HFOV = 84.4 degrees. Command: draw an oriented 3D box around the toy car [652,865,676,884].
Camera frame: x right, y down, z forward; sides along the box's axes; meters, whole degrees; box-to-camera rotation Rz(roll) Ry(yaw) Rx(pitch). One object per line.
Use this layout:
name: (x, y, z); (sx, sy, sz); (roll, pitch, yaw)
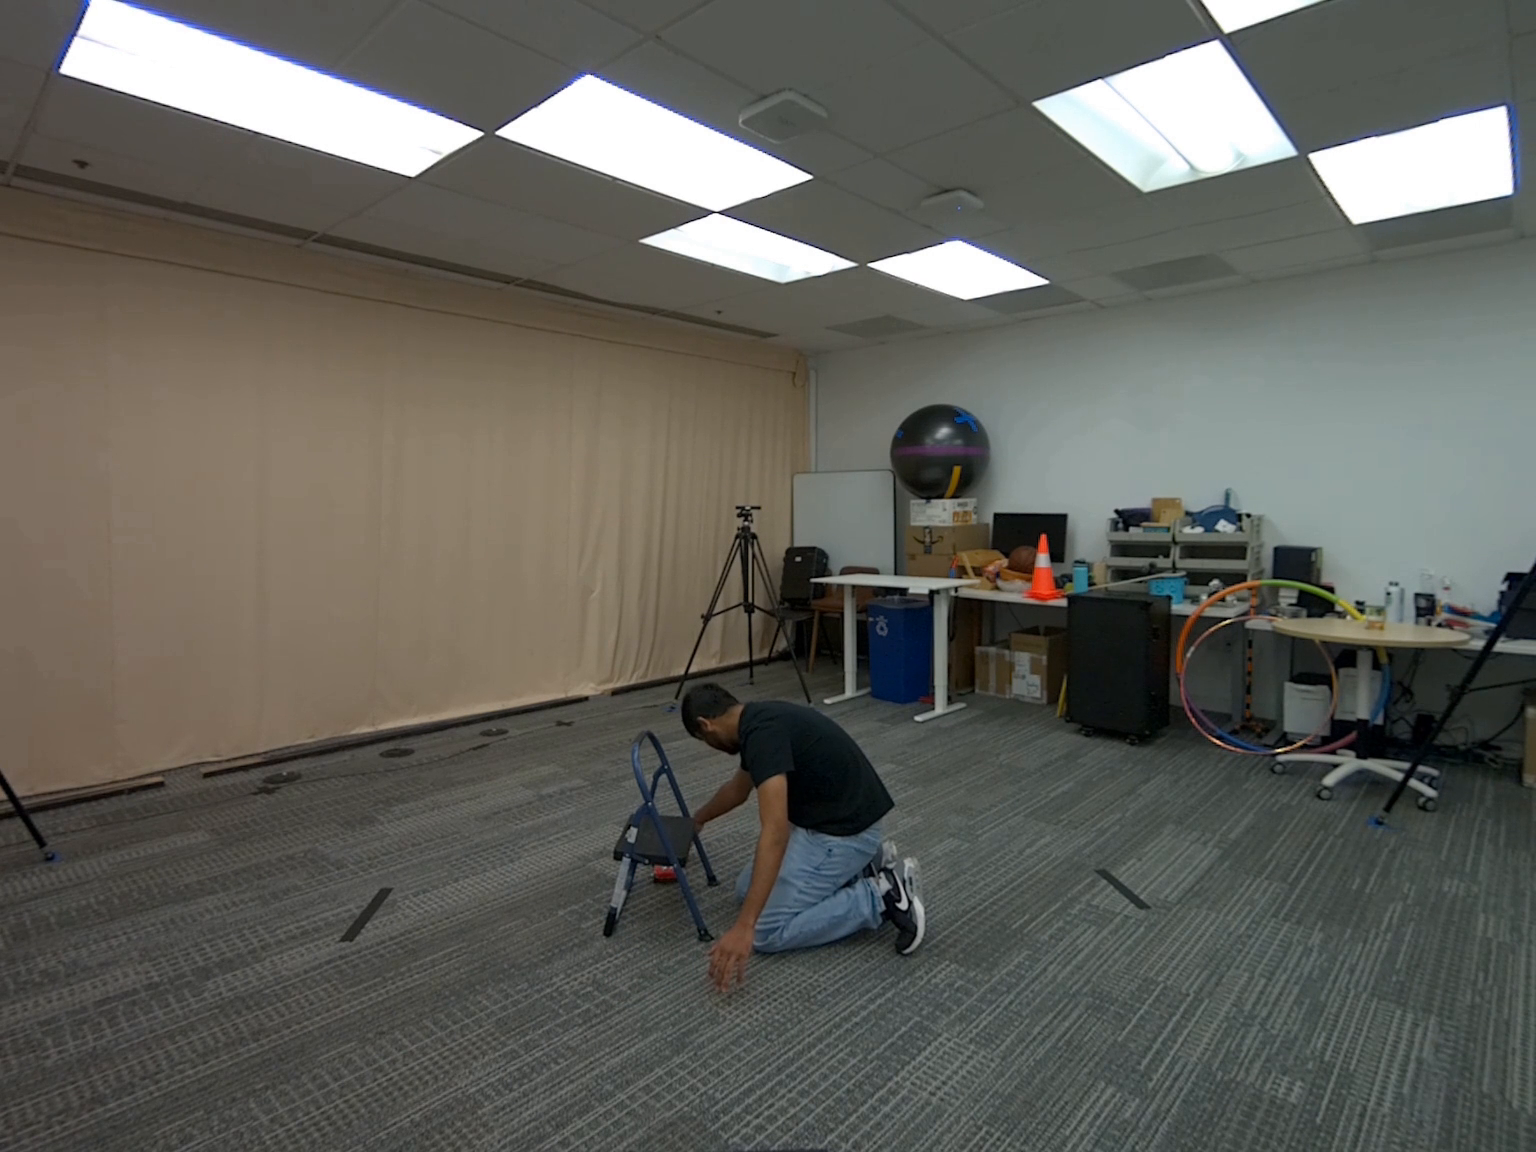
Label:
toy car: (-0.385, 1.097, 3.215); (0.129, 0.082, 0.259); (-1, 15, -8)
